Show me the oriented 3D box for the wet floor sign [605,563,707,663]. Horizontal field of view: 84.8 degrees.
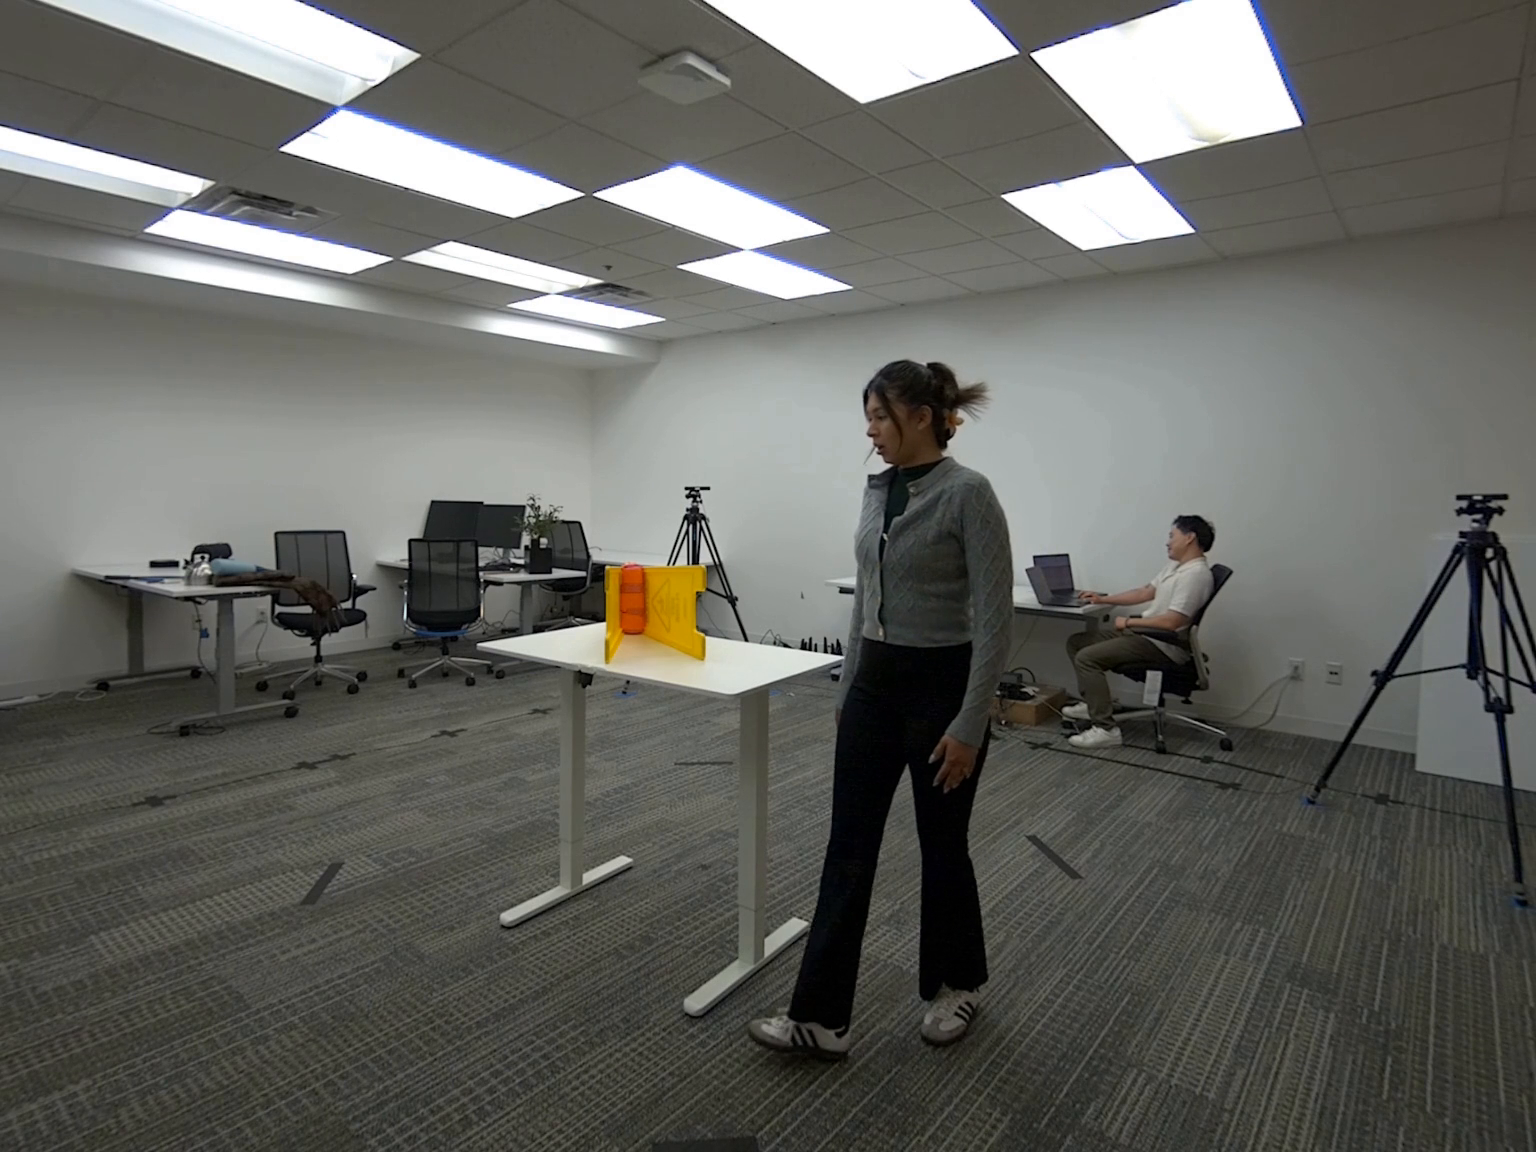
[{"bbox_3d":[-0.431,0.091,2.777,0.285,0.282,0.657,0,3,-17],"label":"wet floor sign"}]
